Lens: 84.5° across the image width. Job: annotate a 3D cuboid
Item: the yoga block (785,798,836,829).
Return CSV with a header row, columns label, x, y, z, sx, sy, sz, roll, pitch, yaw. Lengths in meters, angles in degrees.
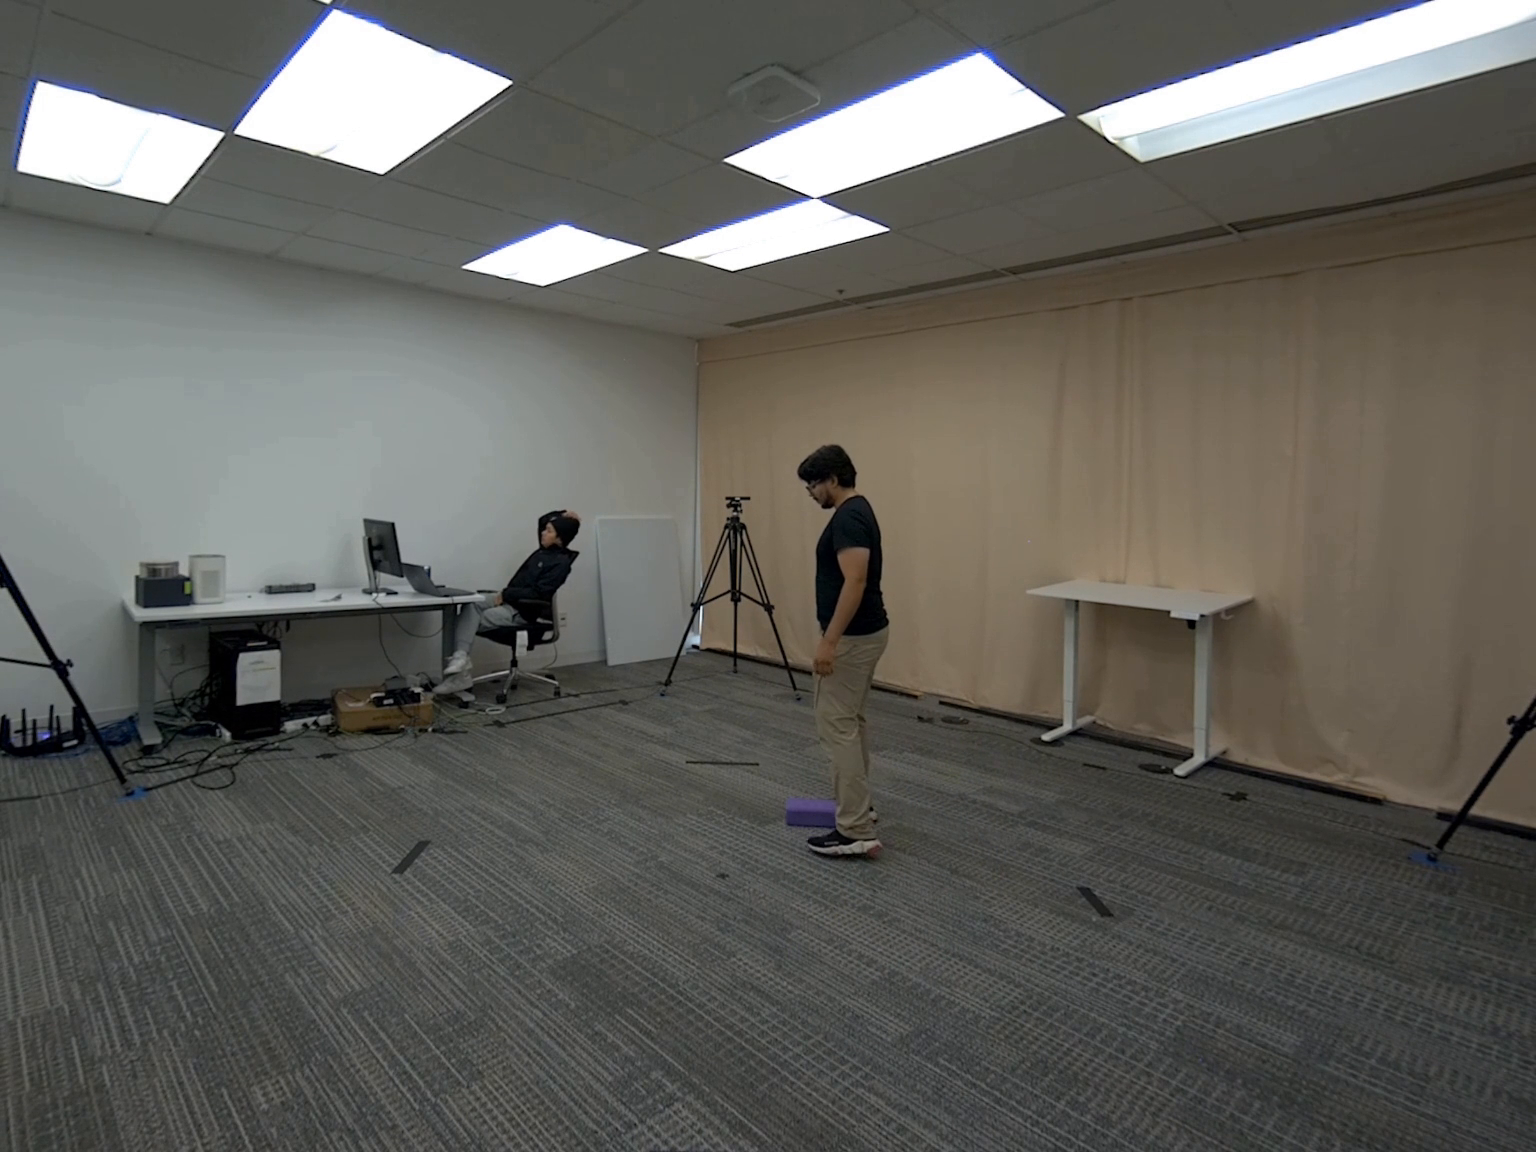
label,x,y,z,sx,sy,sz,roll,pitch,yaw
yoga block,0.183,1.023,3.662,0.230,0.076,0.149,3,6,4
